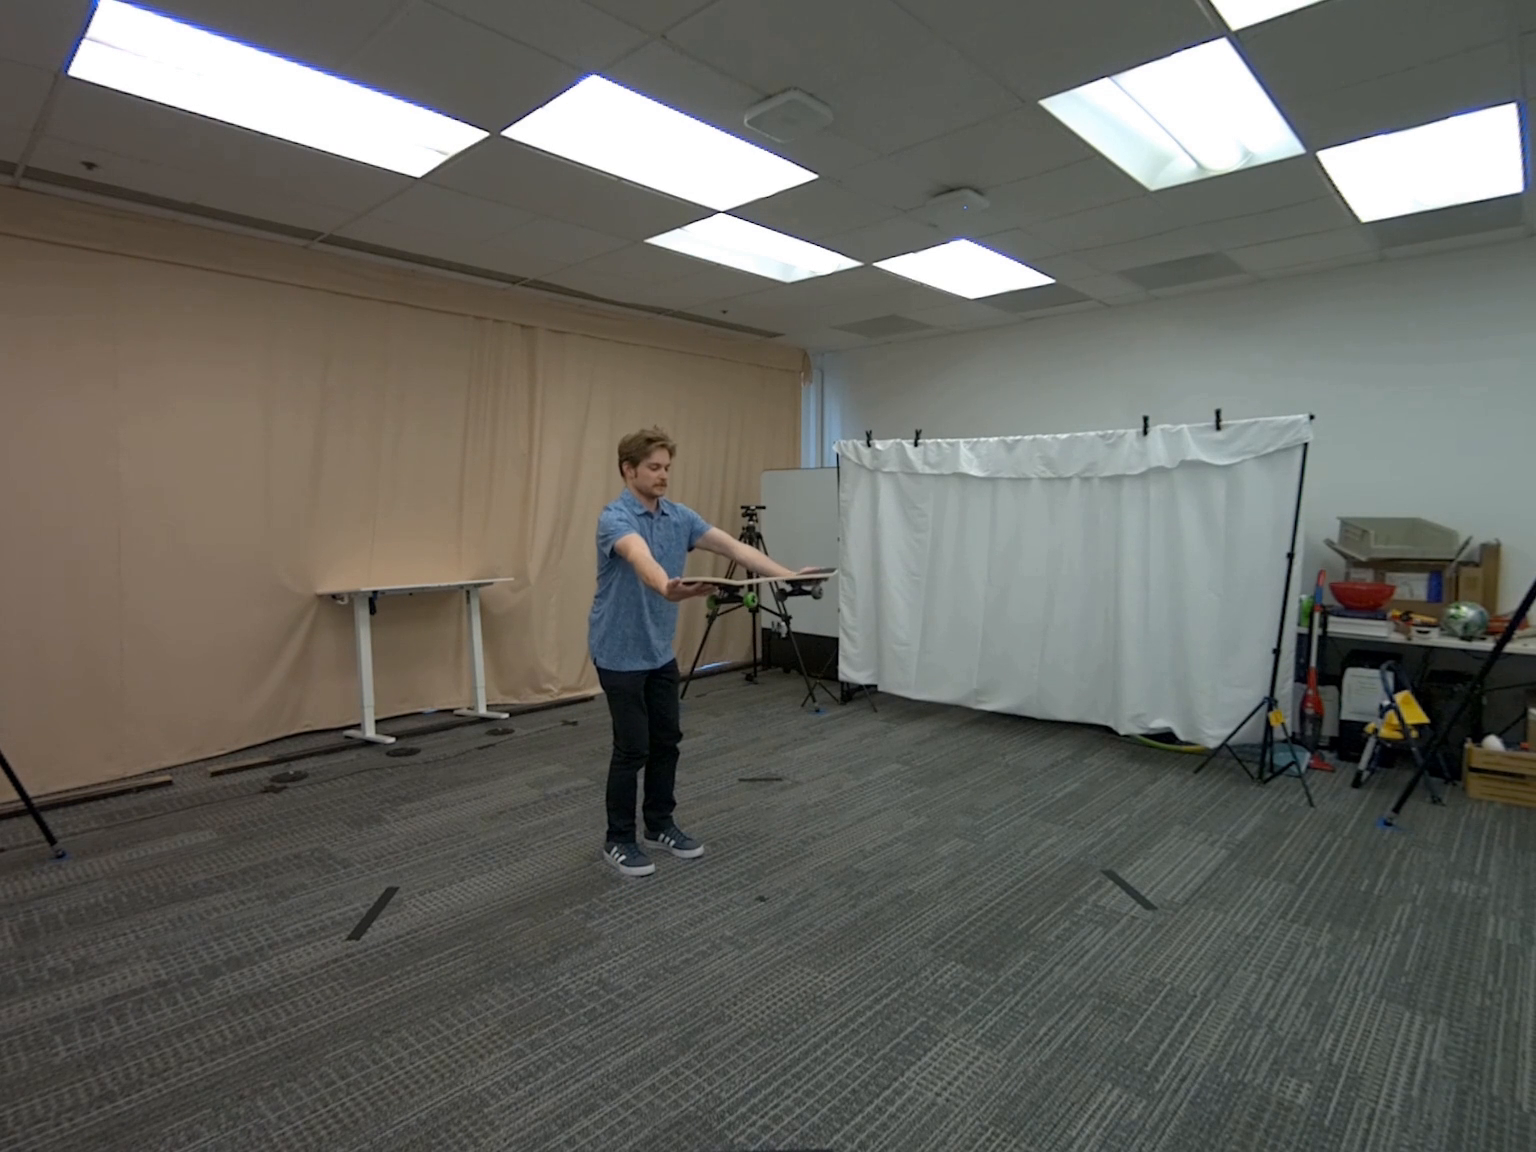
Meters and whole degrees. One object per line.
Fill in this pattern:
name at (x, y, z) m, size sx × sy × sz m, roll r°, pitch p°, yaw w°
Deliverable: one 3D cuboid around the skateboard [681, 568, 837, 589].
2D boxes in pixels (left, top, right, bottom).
skateboard at (-0.023, 0.047, 2.890) m, size 0.199 × 0.110 × 0.762 m, roll -8°, pitch -1°, yaw 37°
